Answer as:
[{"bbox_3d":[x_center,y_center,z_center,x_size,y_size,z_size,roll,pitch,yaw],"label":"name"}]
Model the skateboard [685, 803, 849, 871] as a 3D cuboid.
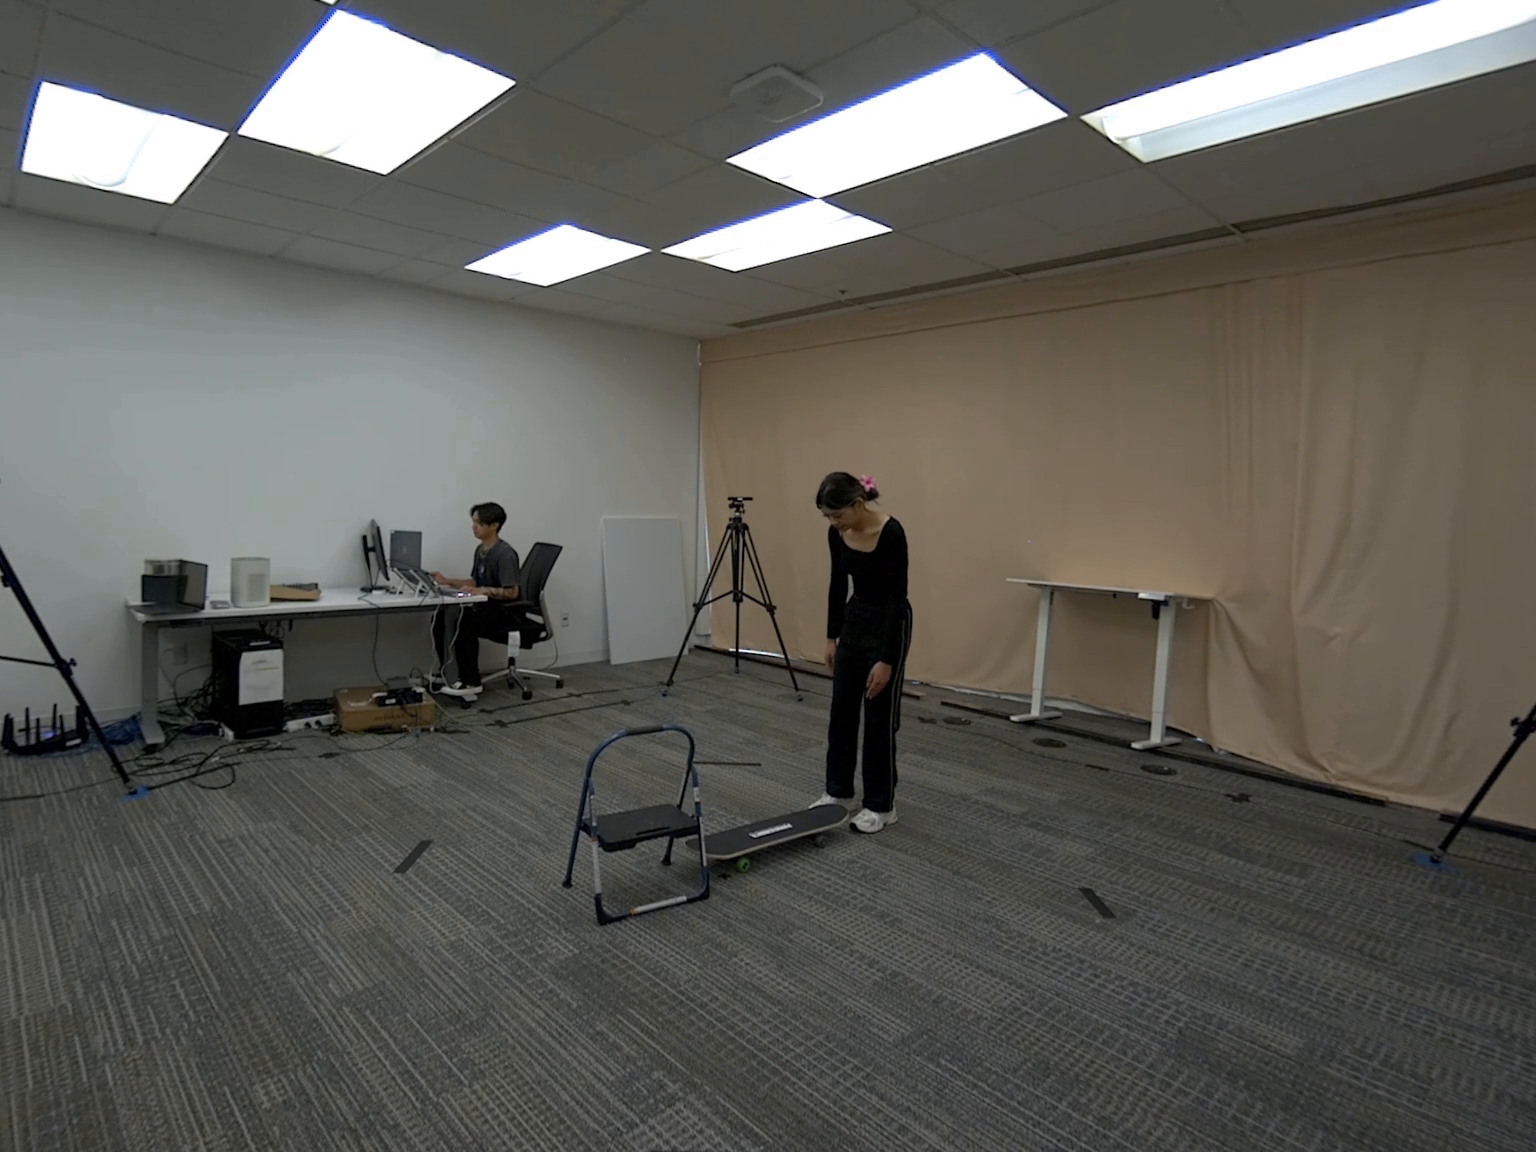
[{"bbox_3d":[0.005,1.039,3.327,0.768,0.110,0.198,-3,7,-38],"label":"skateboard"}]
